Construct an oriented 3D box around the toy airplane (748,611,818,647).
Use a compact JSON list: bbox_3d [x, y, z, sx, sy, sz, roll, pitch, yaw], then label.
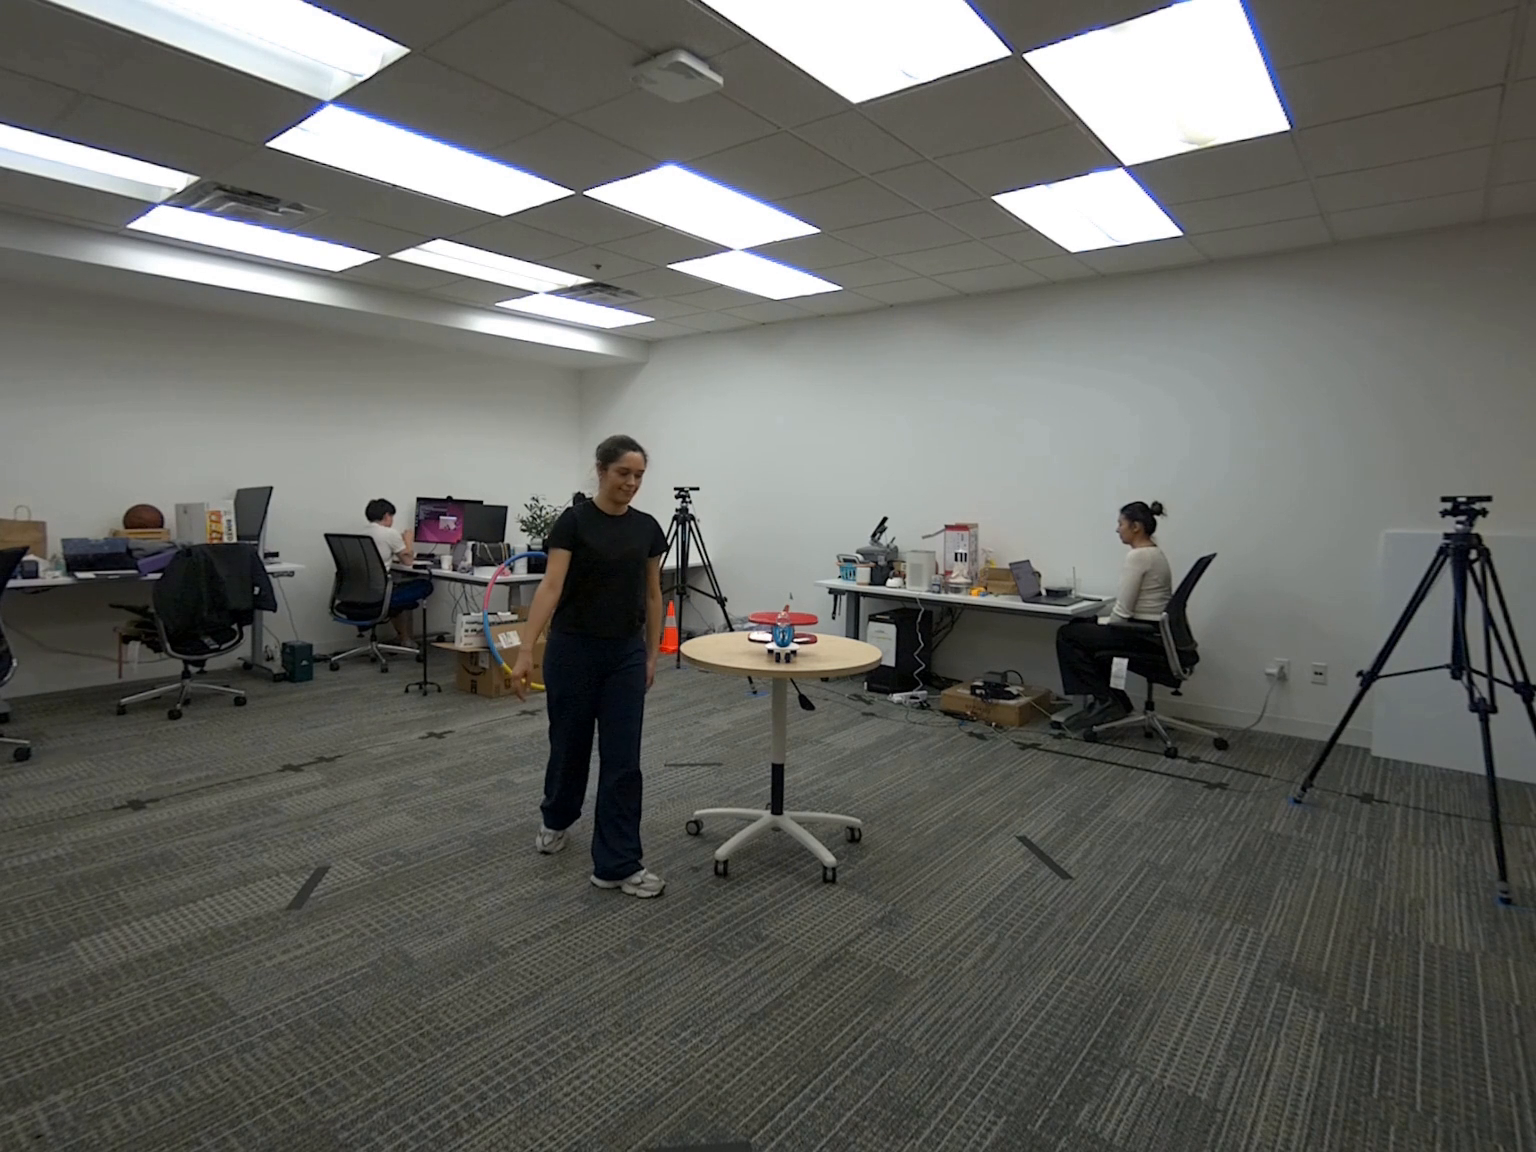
[{"bbox_3d":[0.097,0.217,3.098,0.245,0.155,0.267,-4,8,-28],"label":"toy airplane"}]
